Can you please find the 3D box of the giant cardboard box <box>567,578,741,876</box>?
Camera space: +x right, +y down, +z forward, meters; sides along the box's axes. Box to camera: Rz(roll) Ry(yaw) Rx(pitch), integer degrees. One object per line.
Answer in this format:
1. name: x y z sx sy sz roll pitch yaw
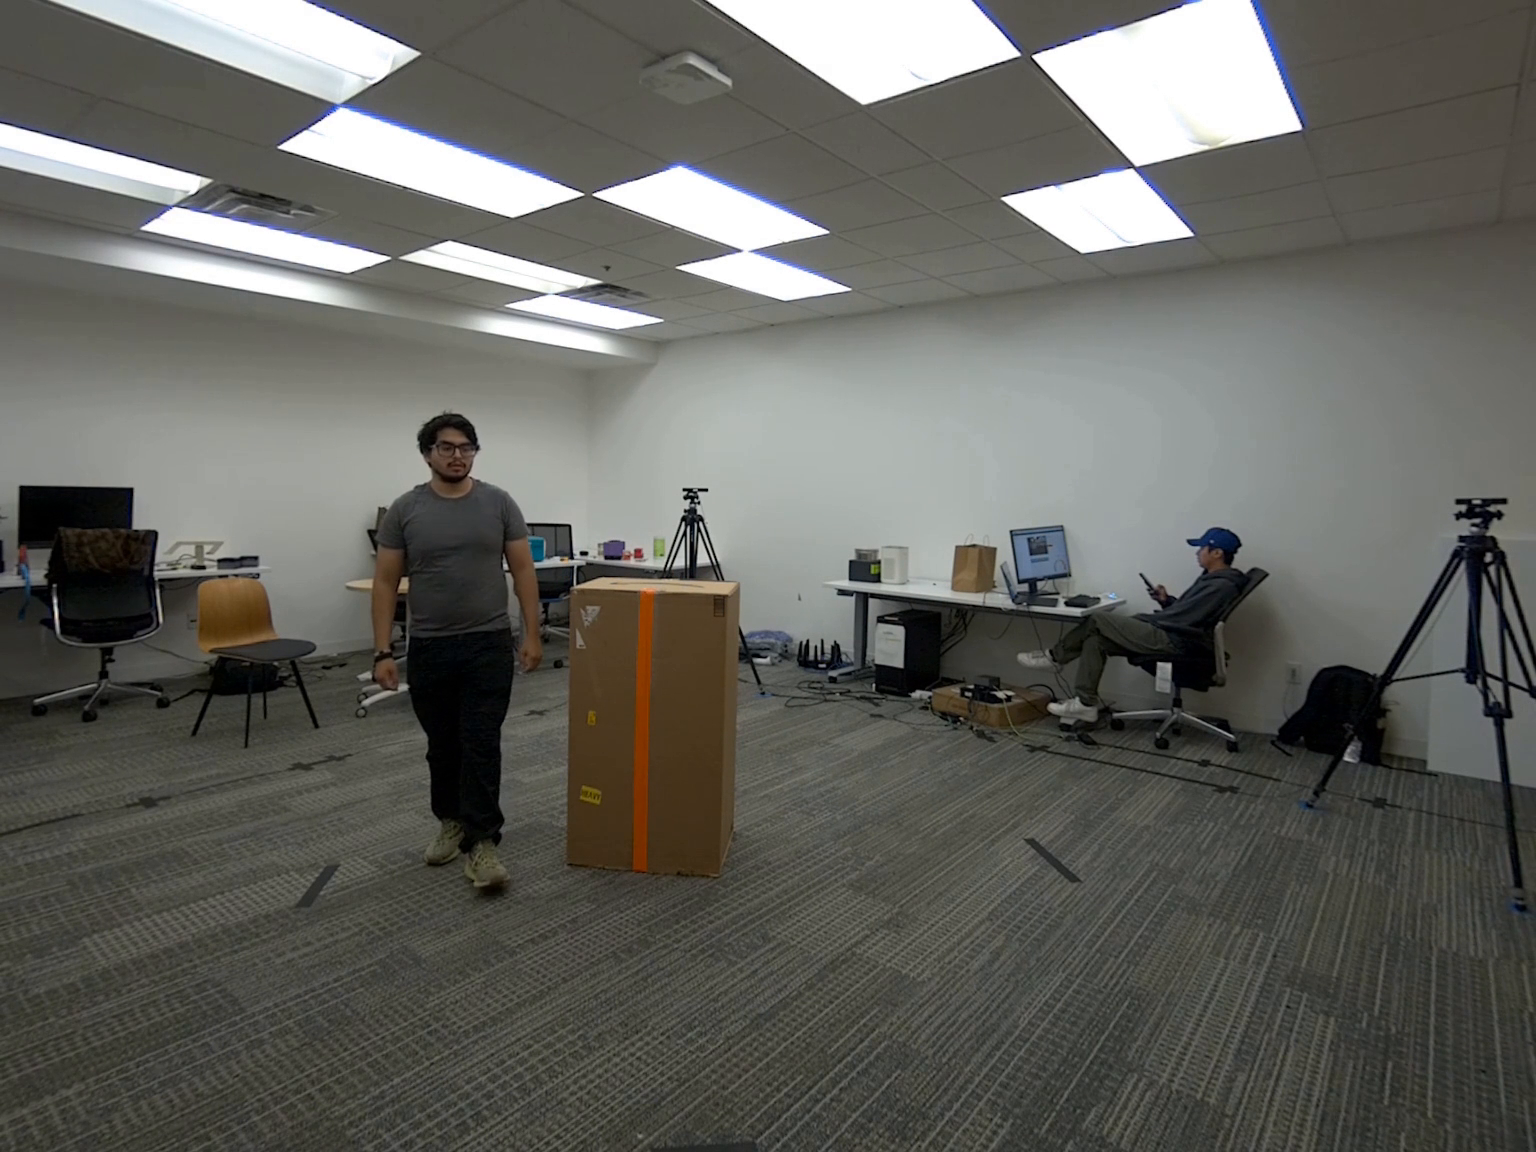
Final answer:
1. giant cardboard box: -0.439 0.540 3.260 0.583 1.023 0.424 2 3 7
